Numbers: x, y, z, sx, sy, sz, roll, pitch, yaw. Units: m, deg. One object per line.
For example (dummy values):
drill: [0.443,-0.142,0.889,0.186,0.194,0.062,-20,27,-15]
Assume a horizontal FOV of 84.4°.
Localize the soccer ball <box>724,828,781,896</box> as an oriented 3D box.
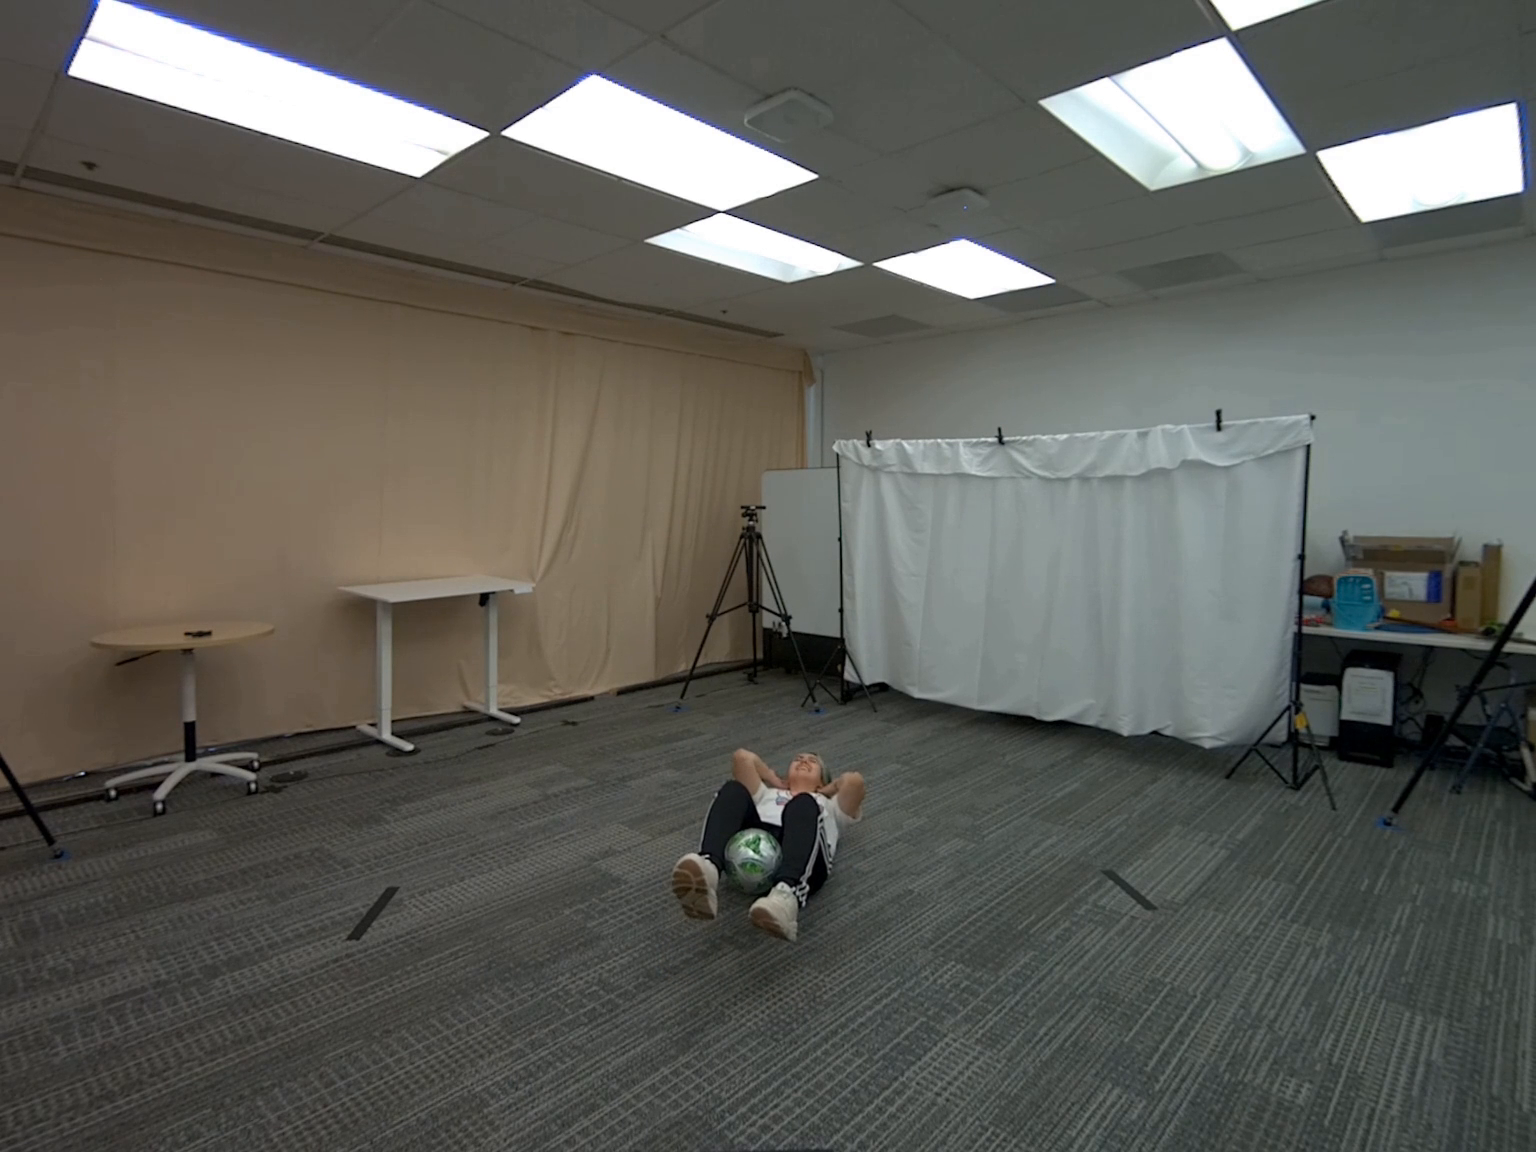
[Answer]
soccer ball: [-0.042,0.880,2.599,0.187,0.187,0.188,0,4,-2]
